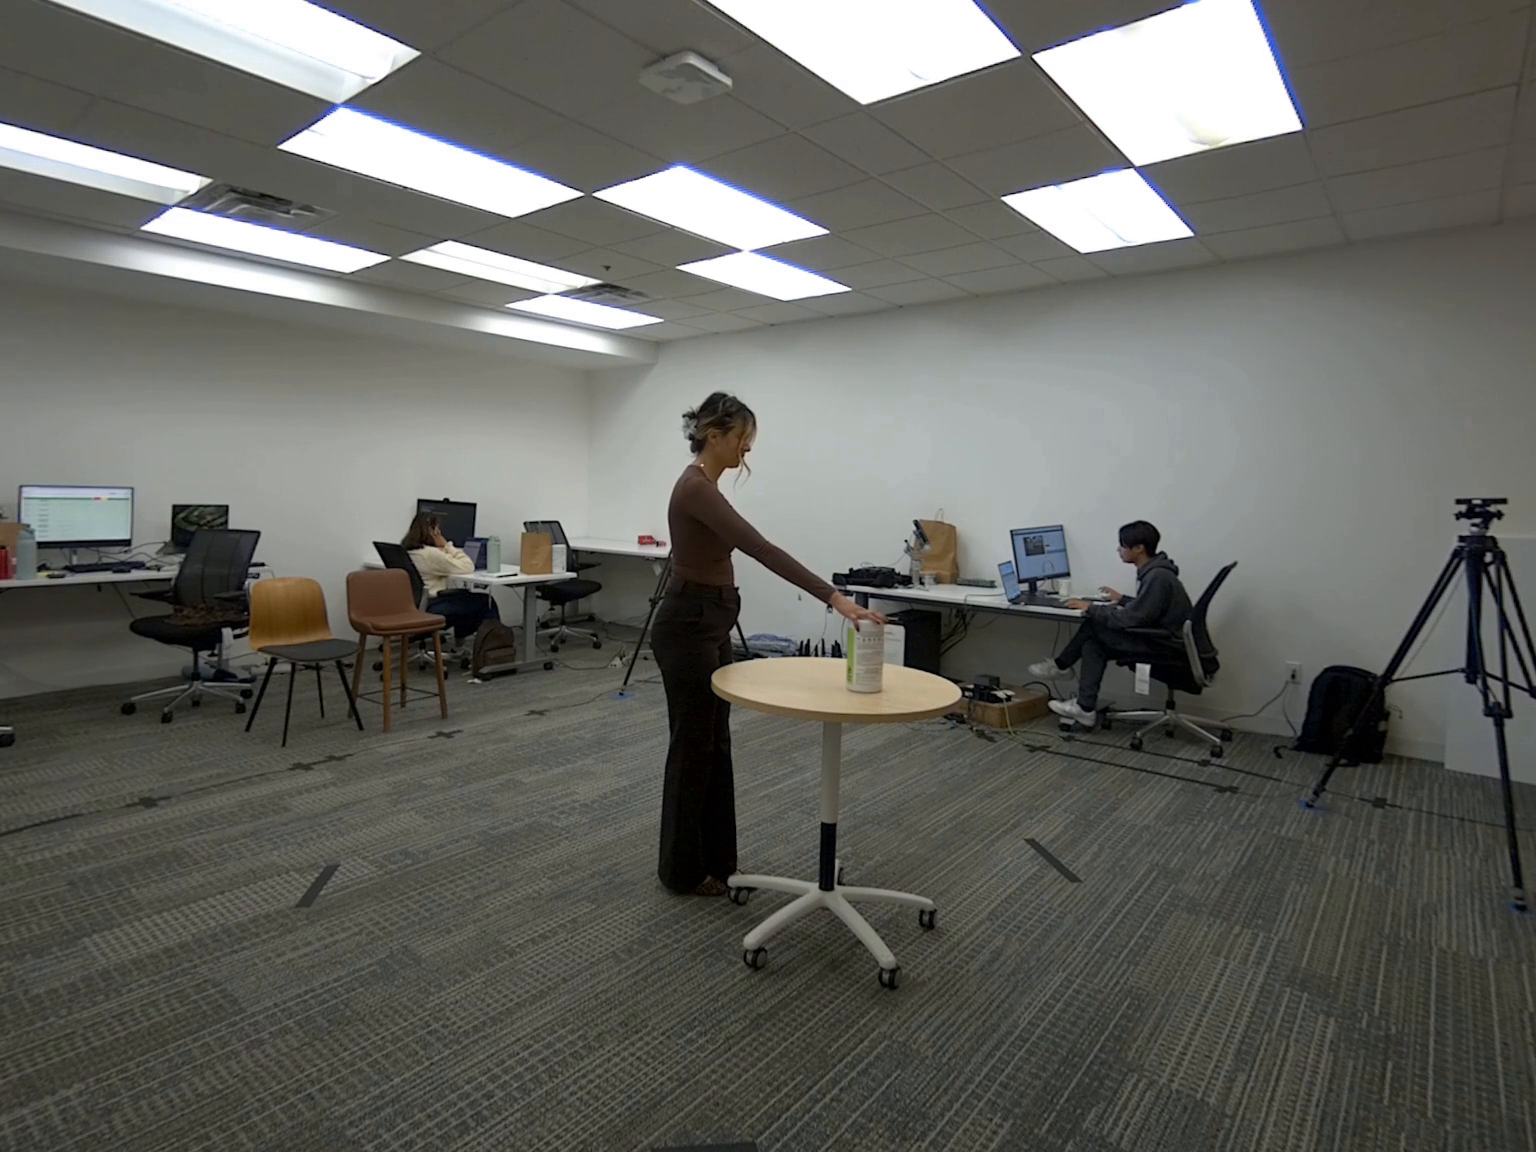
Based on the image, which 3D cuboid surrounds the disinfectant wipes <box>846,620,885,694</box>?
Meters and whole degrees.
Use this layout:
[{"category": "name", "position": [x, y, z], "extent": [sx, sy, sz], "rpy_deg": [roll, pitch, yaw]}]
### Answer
[{"category": "disinfectant wipes", "position": [0.286, 0.231, 2.553], "extent": [0.118, 0.217, 0.118], "rpy_deg": [-2, 2, -2]}]
